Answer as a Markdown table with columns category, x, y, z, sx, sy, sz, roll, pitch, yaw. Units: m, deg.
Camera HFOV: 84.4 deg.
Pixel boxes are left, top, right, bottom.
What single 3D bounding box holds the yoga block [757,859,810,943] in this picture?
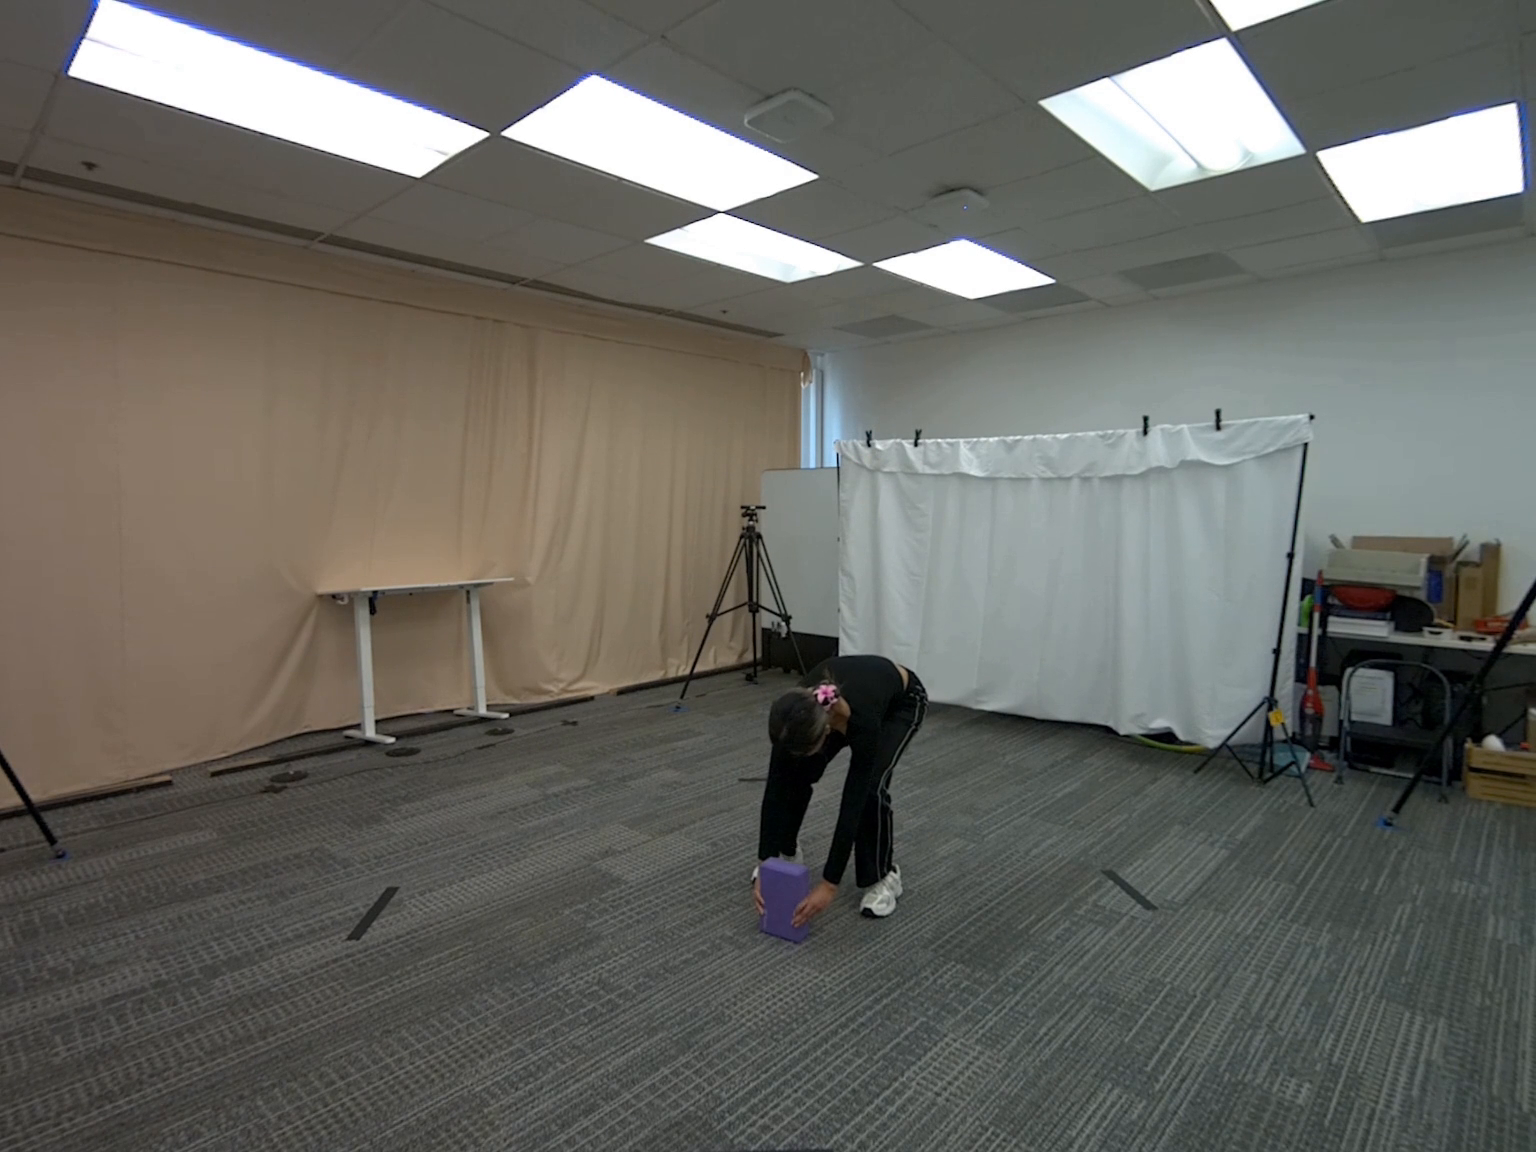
| category | x | y | z | sx | sy | sz | roll | pitch | yaw |
| --- | --- | --- | --- | --- | --- | --- | --- | --- | --- |
| yoga block | 0.060 | 1.047 | 2.740 | 0.153 | 0.229 | 0.074 | 5 | 6 | 30 |
